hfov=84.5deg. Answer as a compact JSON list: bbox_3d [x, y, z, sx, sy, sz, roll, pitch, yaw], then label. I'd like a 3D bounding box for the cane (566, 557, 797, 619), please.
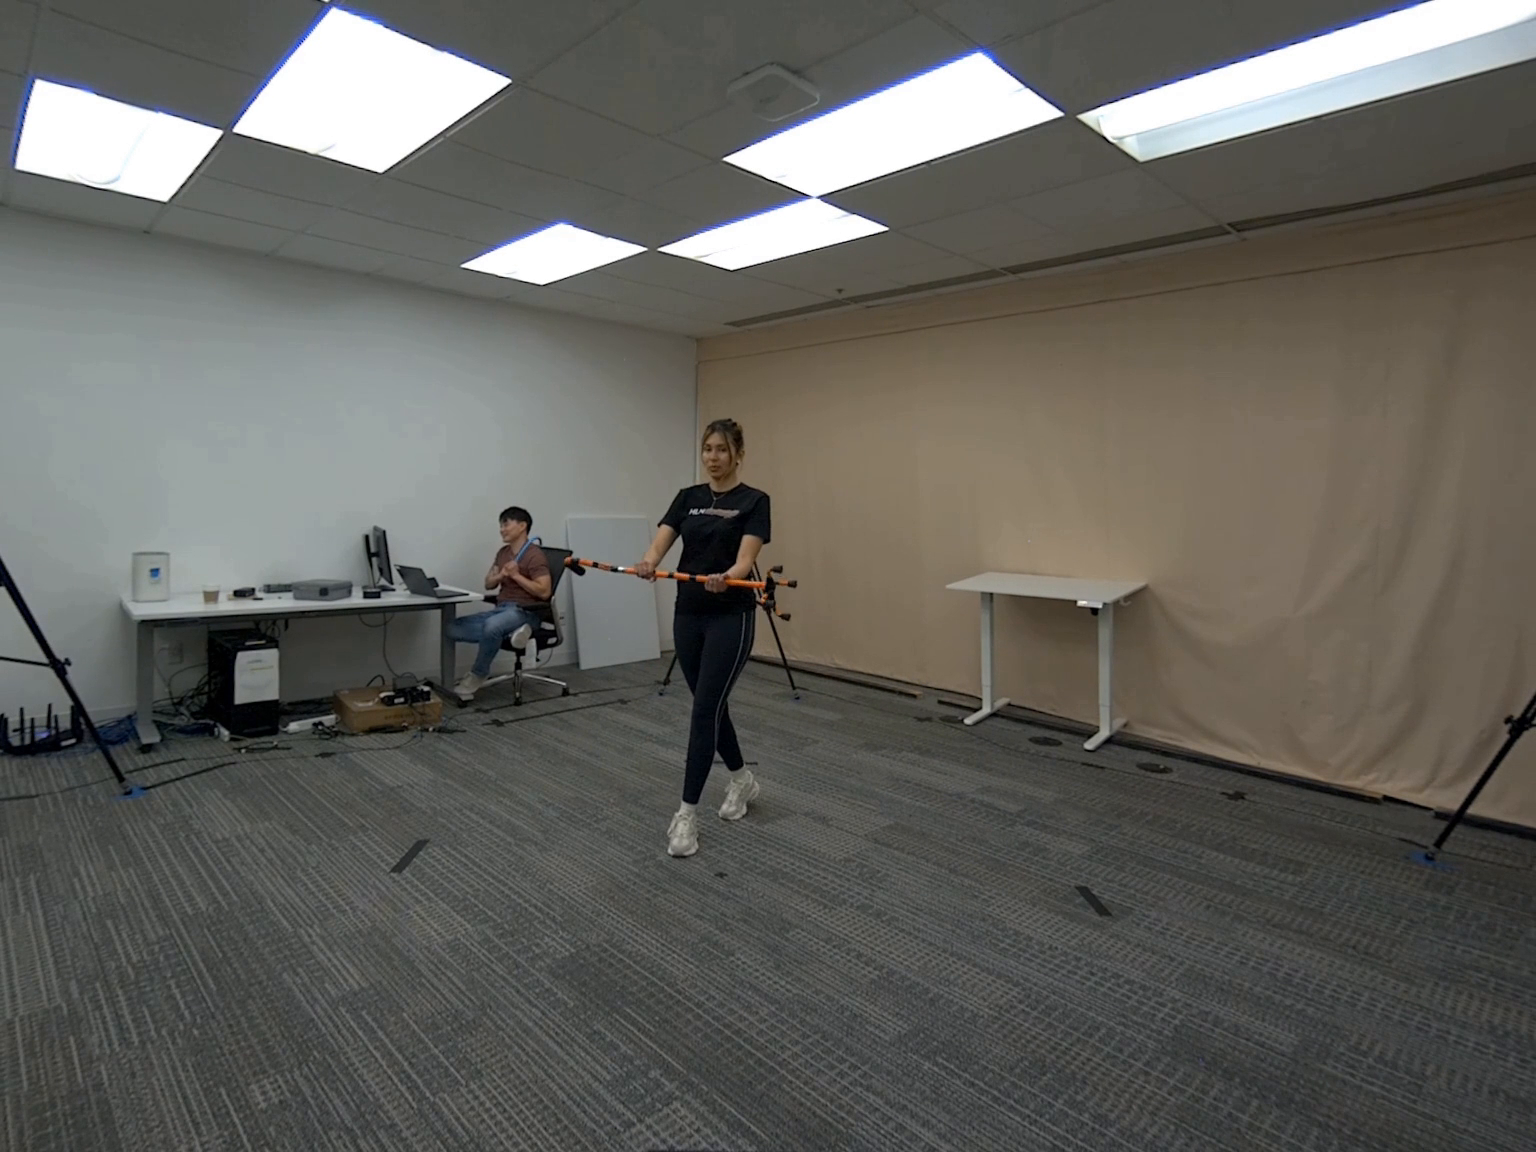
[{"bbox_3d":[-0.376,0.010,3.079,0.925,0.153,0.201,7,-14,24],"label":"cane"}]
